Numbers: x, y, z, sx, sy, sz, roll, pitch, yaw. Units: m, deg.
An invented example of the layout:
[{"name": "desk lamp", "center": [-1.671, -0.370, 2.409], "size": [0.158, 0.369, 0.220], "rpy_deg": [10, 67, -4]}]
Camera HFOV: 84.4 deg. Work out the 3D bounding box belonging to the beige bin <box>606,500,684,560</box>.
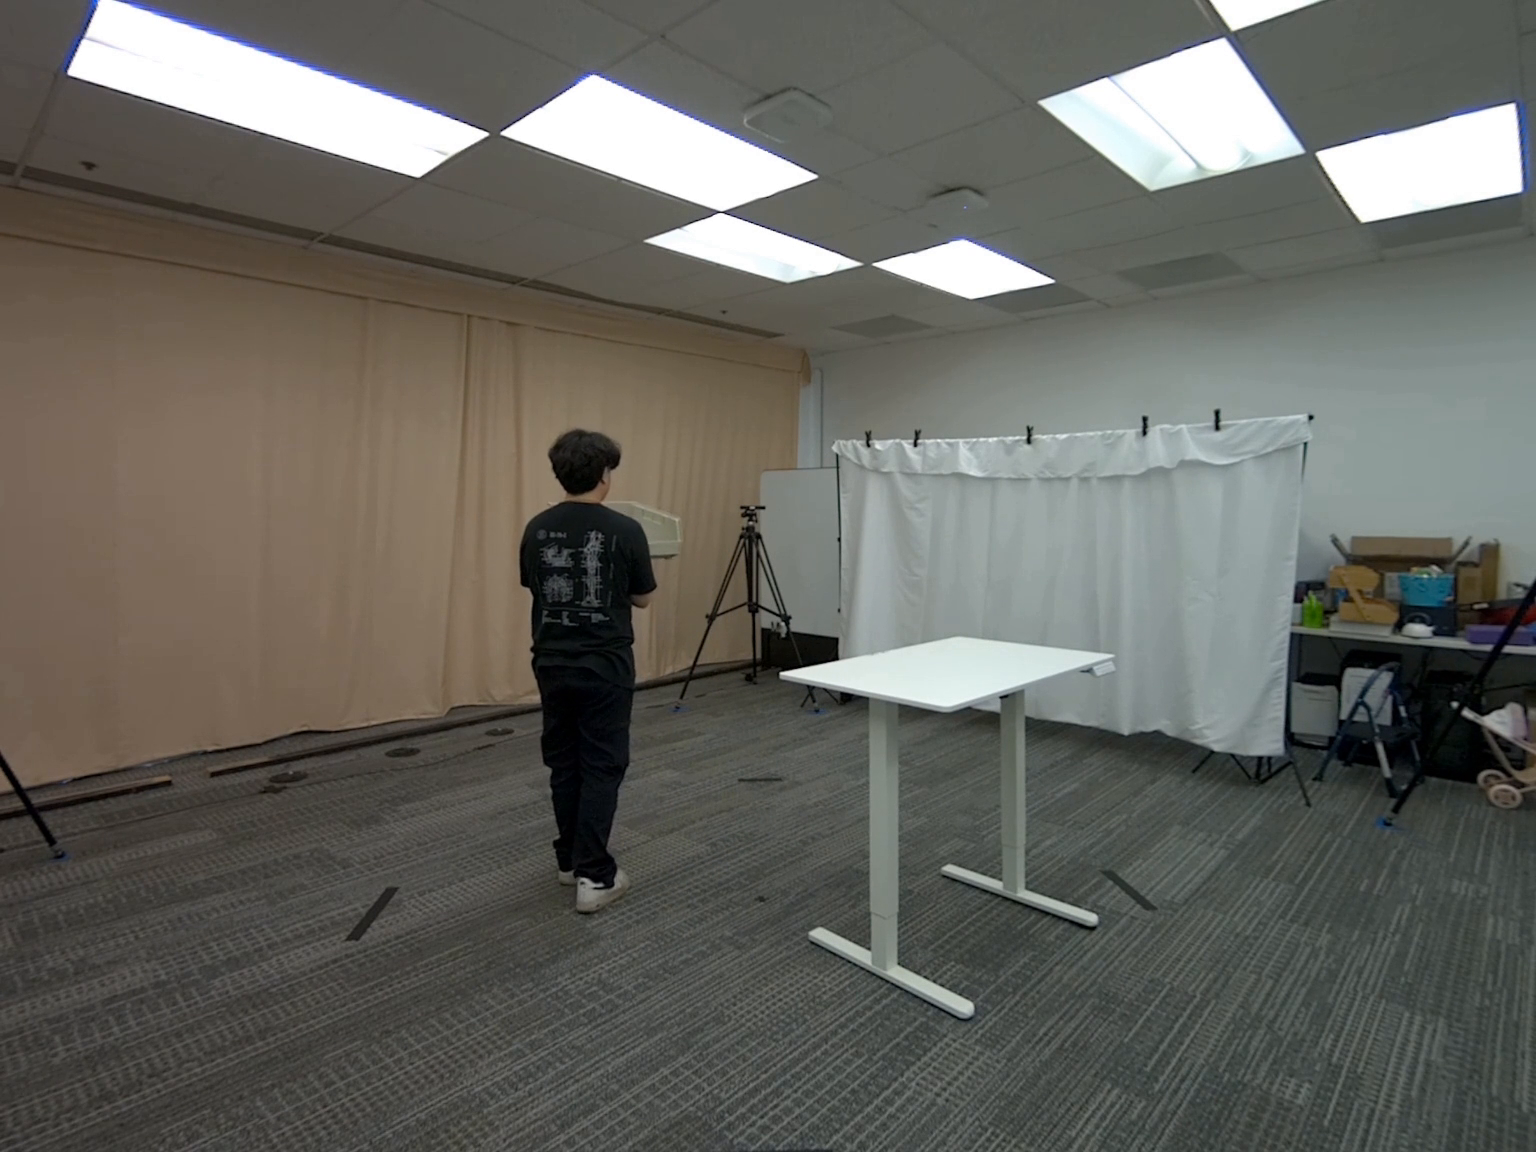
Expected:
[{"name": "beige bin", "center": [-0.621, -0.171, 3.406], "size": [0.410, 0.188, 0.391], "rpy_deg": [-5, 17, -40]}]
